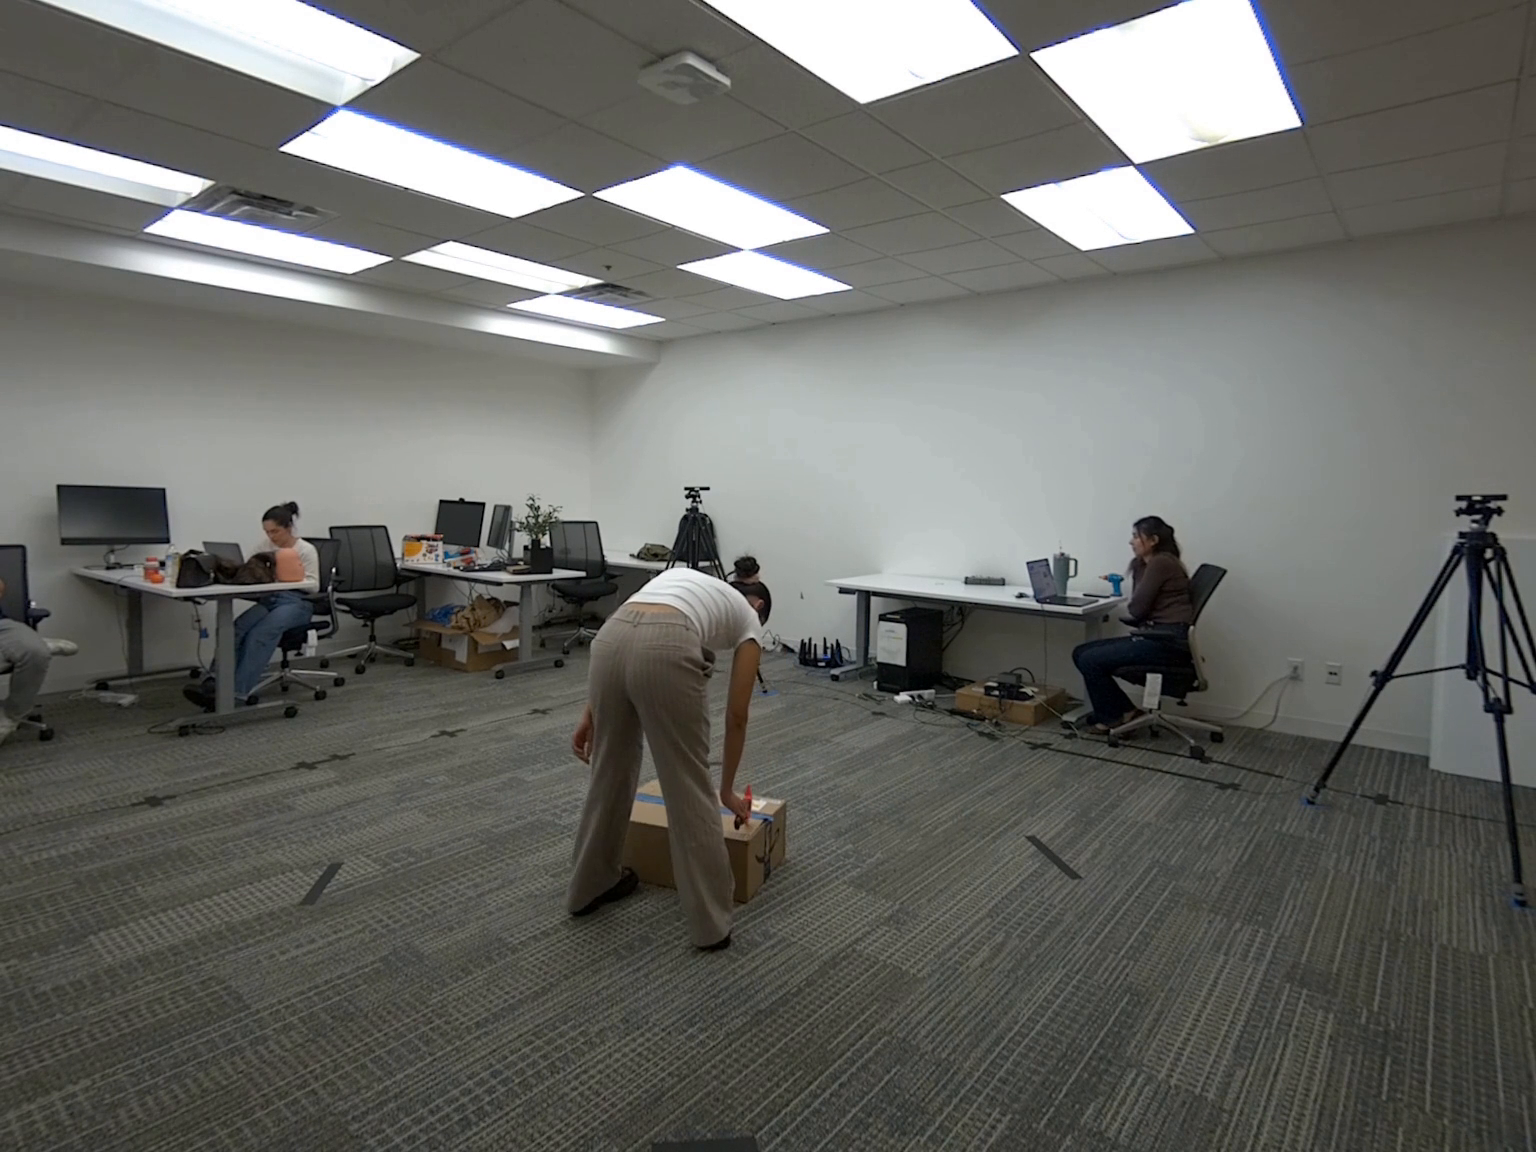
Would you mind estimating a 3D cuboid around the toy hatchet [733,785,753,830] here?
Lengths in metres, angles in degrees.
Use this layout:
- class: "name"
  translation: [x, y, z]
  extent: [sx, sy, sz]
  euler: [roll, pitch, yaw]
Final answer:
- class: "toy hatchet"
  translation: [-0.095, 0.813, 2.865]
  extent: [0.030, 0.130, 0.270]
  euler: [4, 11, 4]
